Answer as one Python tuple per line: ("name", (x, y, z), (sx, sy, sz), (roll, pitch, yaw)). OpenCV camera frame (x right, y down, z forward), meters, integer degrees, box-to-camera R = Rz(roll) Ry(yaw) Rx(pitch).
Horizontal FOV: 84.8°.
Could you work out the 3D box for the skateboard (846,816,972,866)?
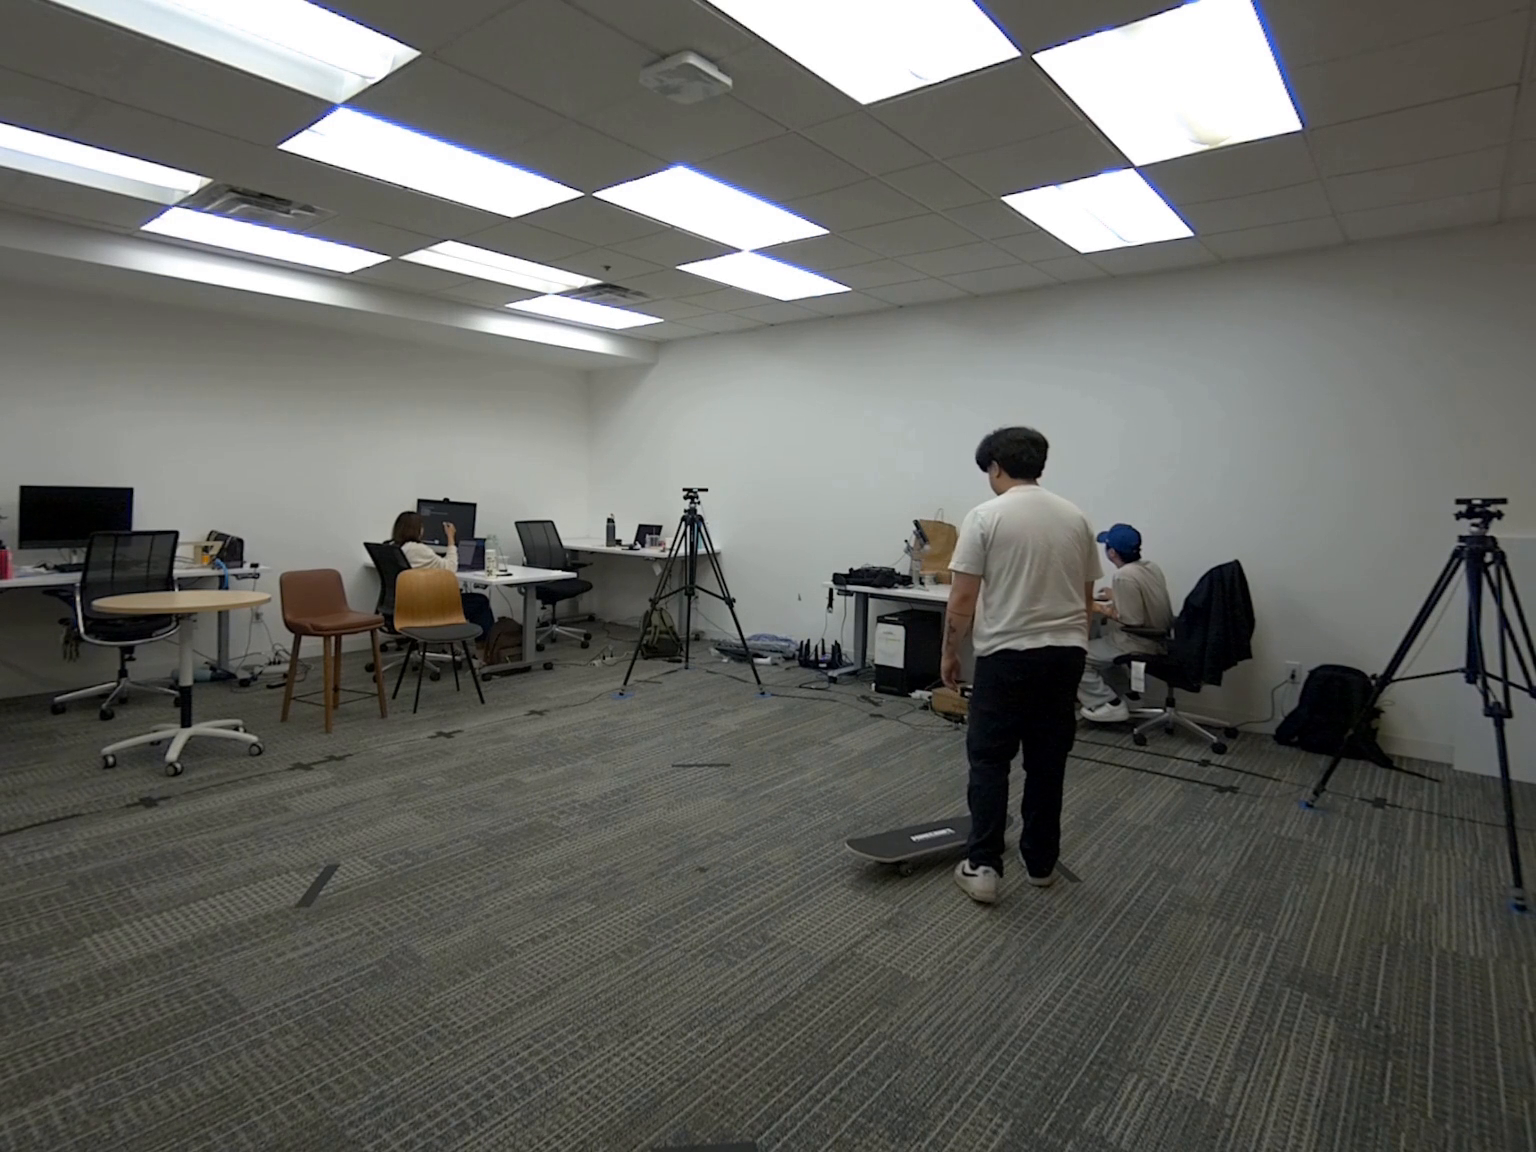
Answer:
("skateboard", (0.621, 1.018, 3.258), (0.765, 0.110, 0.199), (-2, 6, -29))
